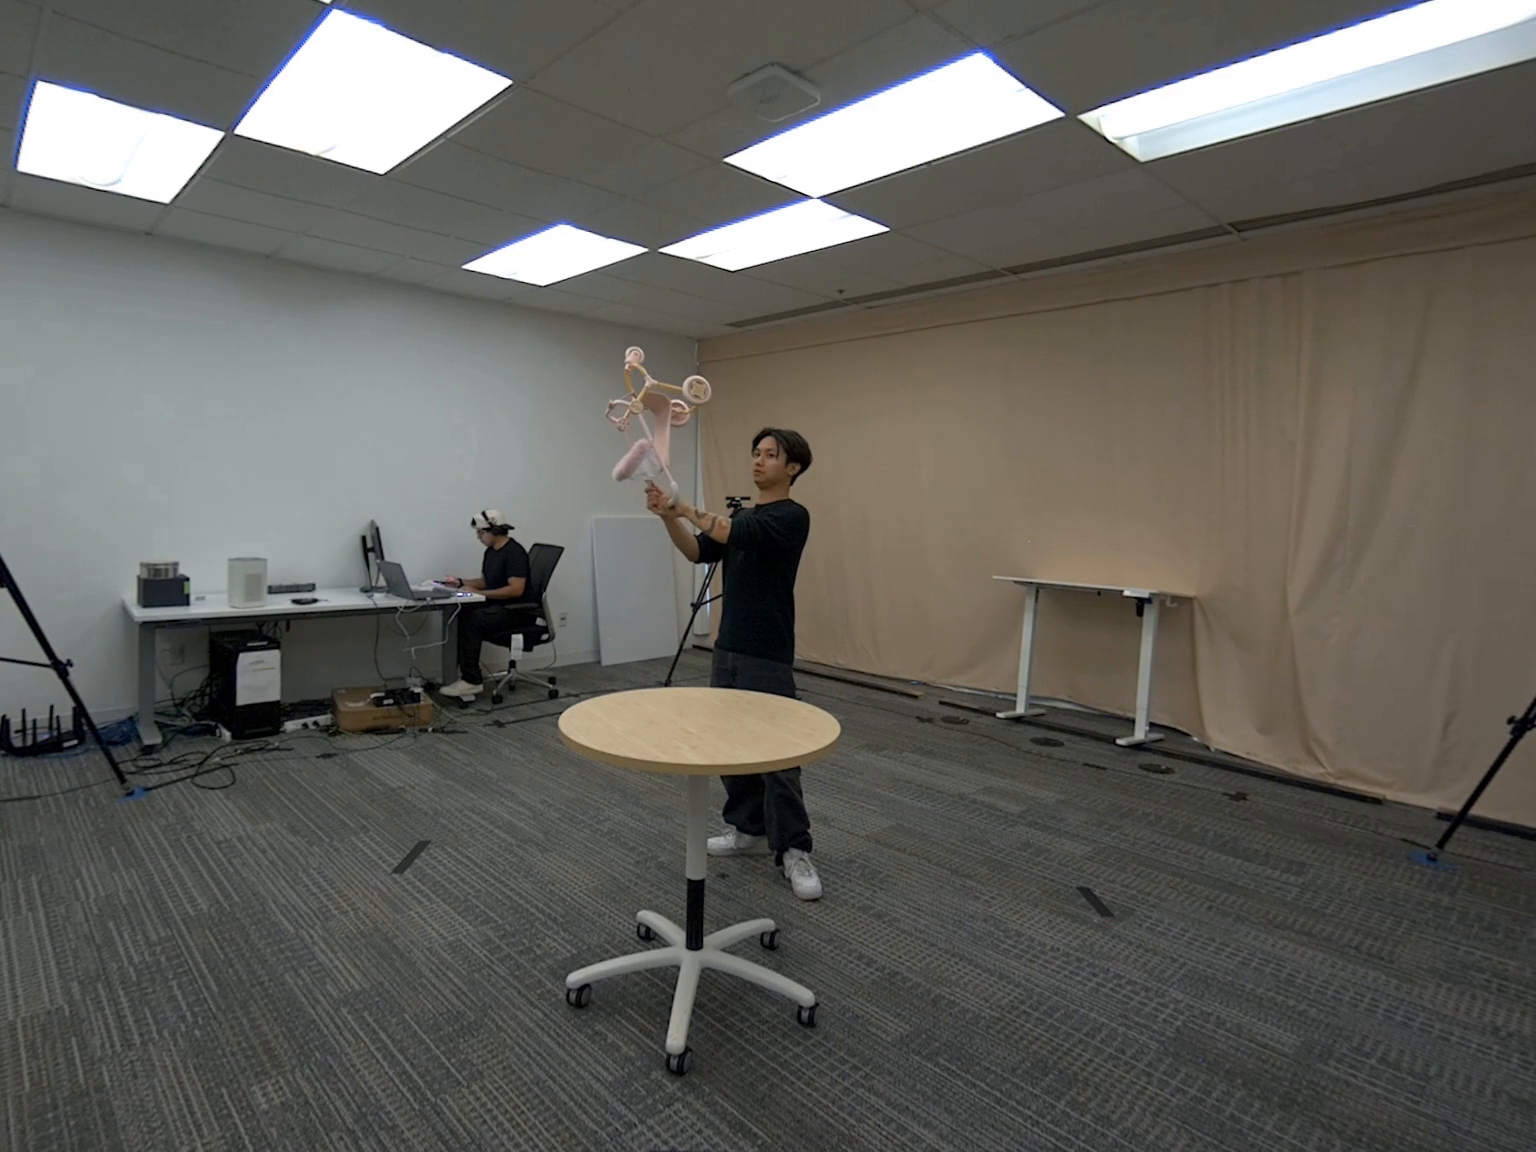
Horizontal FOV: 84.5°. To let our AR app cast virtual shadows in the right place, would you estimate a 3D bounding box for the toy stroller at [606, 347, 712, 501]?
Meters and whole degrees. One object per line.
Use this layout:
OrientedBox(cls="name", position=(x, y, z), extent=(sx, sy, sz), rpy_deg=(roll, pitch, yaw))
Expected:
OrientedBox(cls="toy stroller", position=(-0.443, -0.547, 3.063), extent=(0.334, 0.539, 0.285), rpy_deg=(24, -18, -24))
